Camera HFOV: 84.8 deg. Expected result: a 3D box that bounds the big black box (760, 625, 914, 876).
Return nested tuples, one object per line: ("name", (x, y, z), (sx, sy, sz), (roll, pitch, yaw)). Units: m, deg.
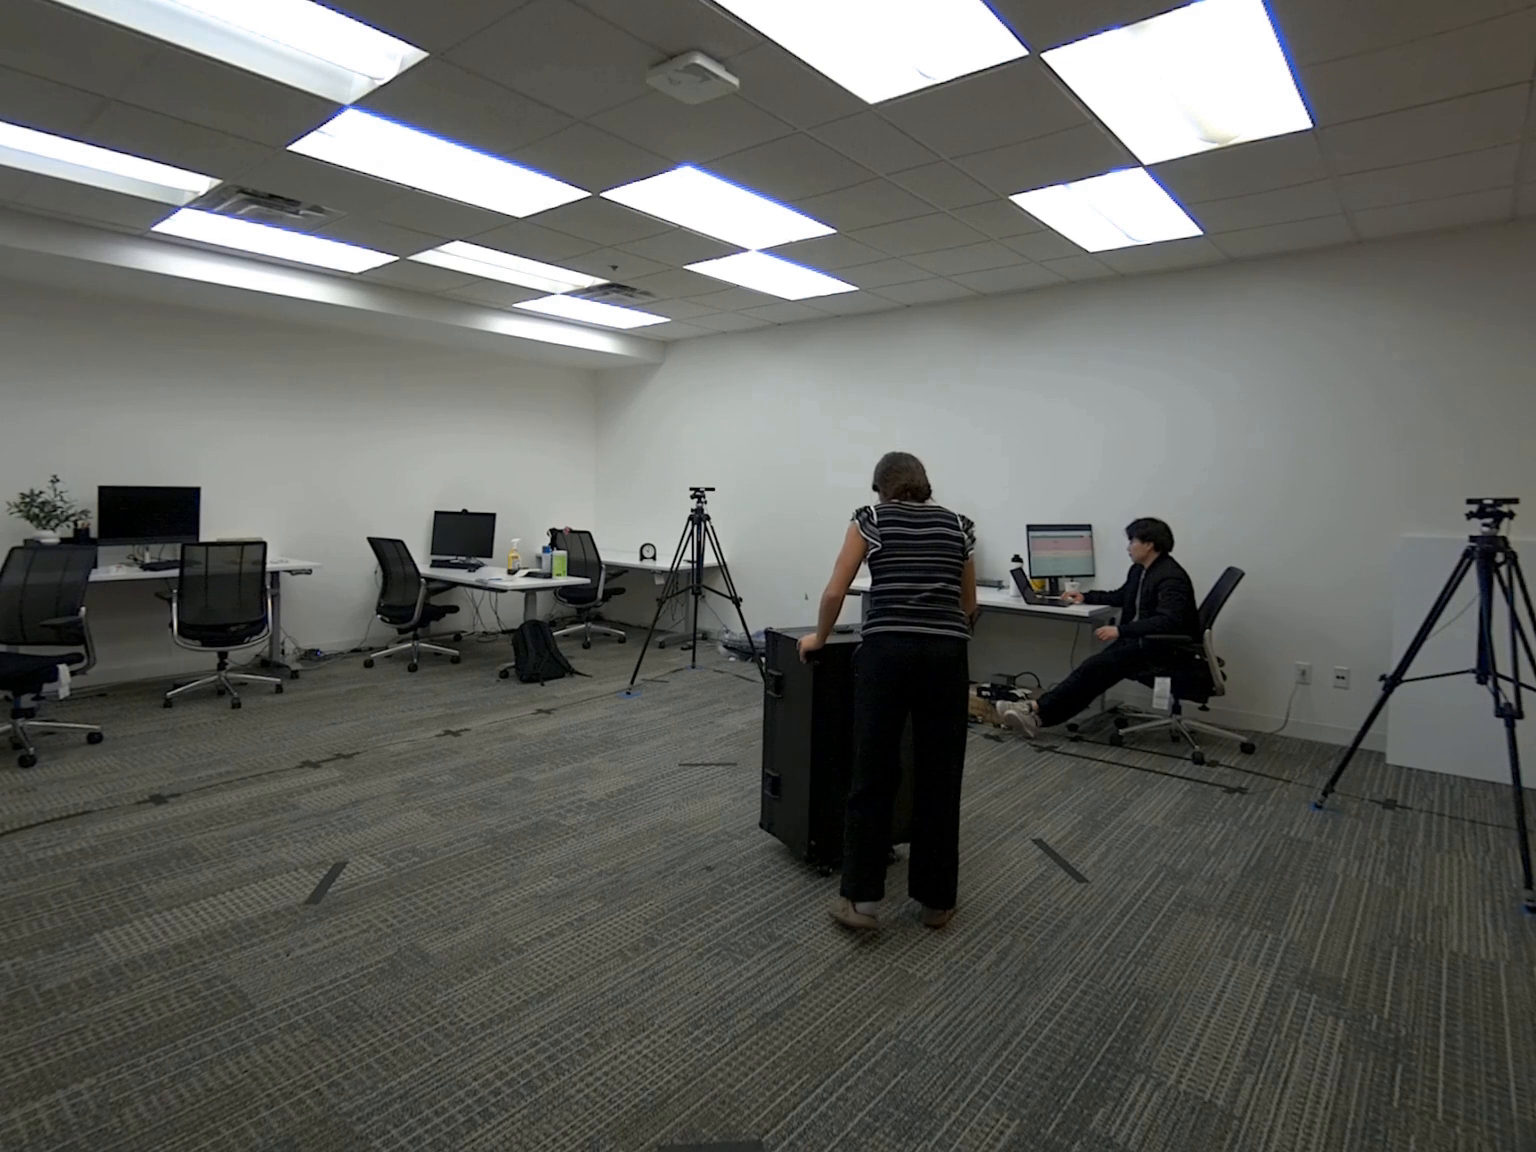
("big black box", (0.268, 0.635, 3.251), (0.508, 0.858, 0.408), (0, 4, -27))
